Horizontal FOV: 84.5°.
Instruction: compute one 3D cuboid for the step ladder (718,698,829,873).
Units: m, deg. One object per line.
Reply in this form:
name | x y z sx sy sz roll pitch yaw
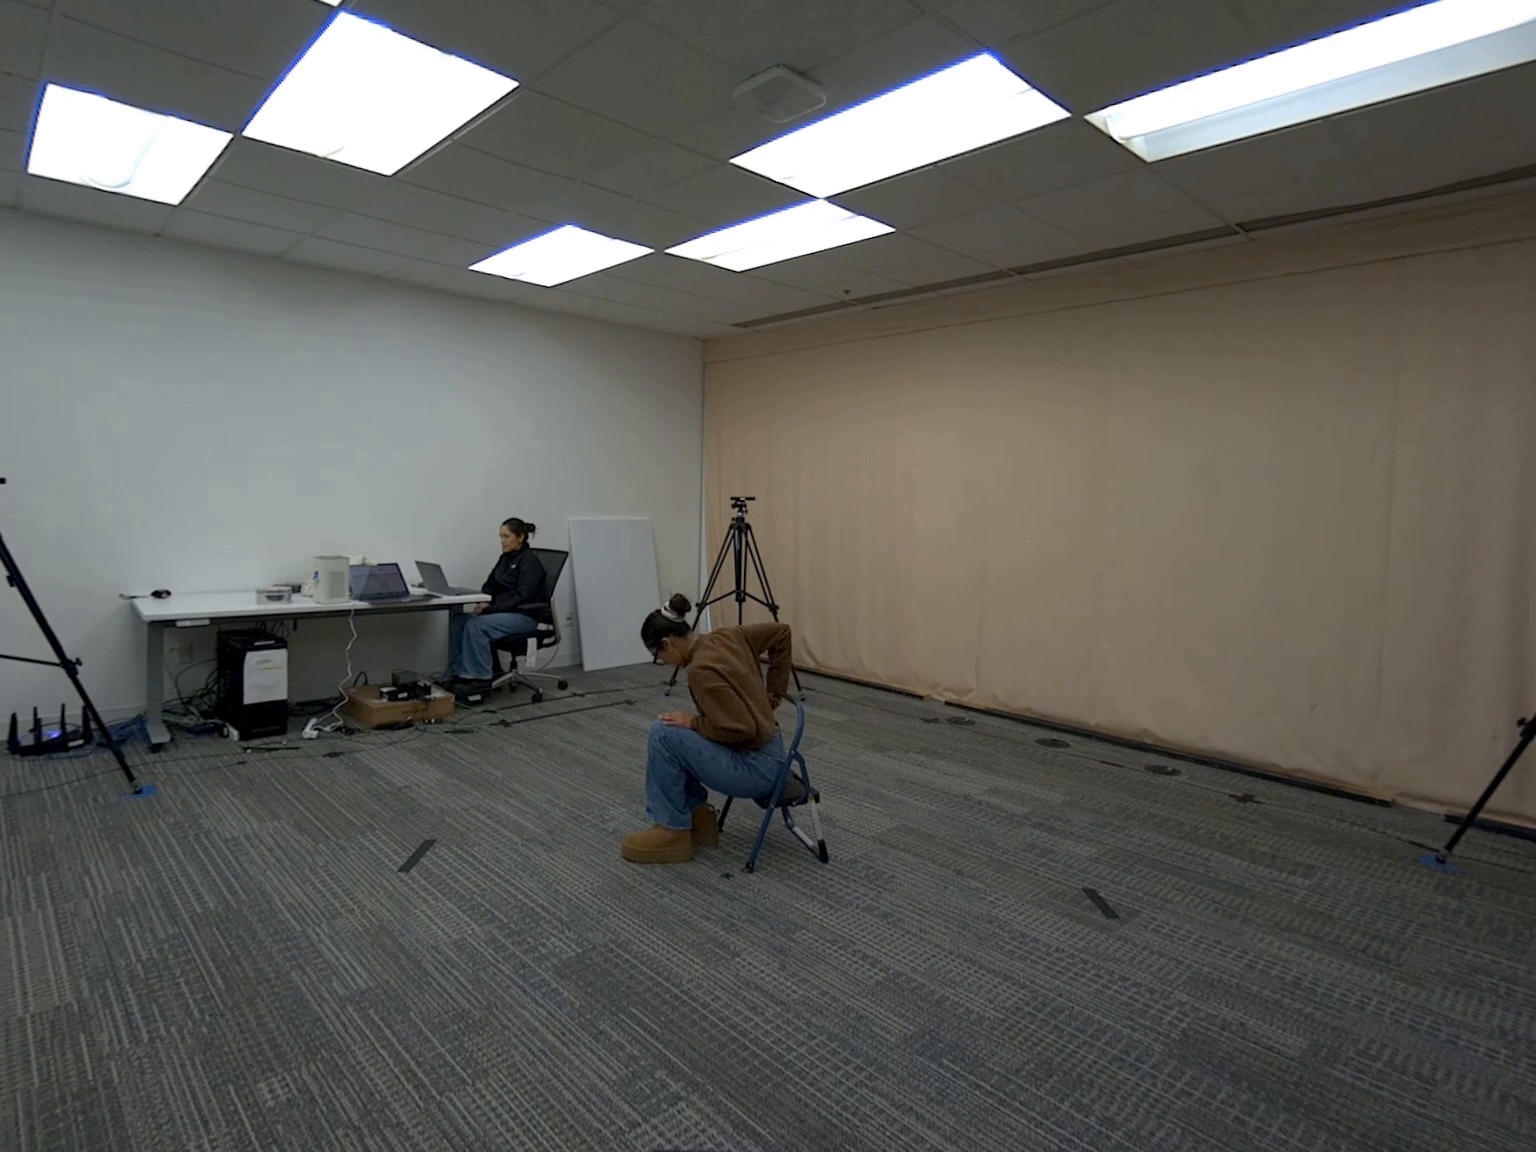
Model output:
step ladder | 0.006 0.789 3.363 0.344 0.605 0.438 0 3 -20
